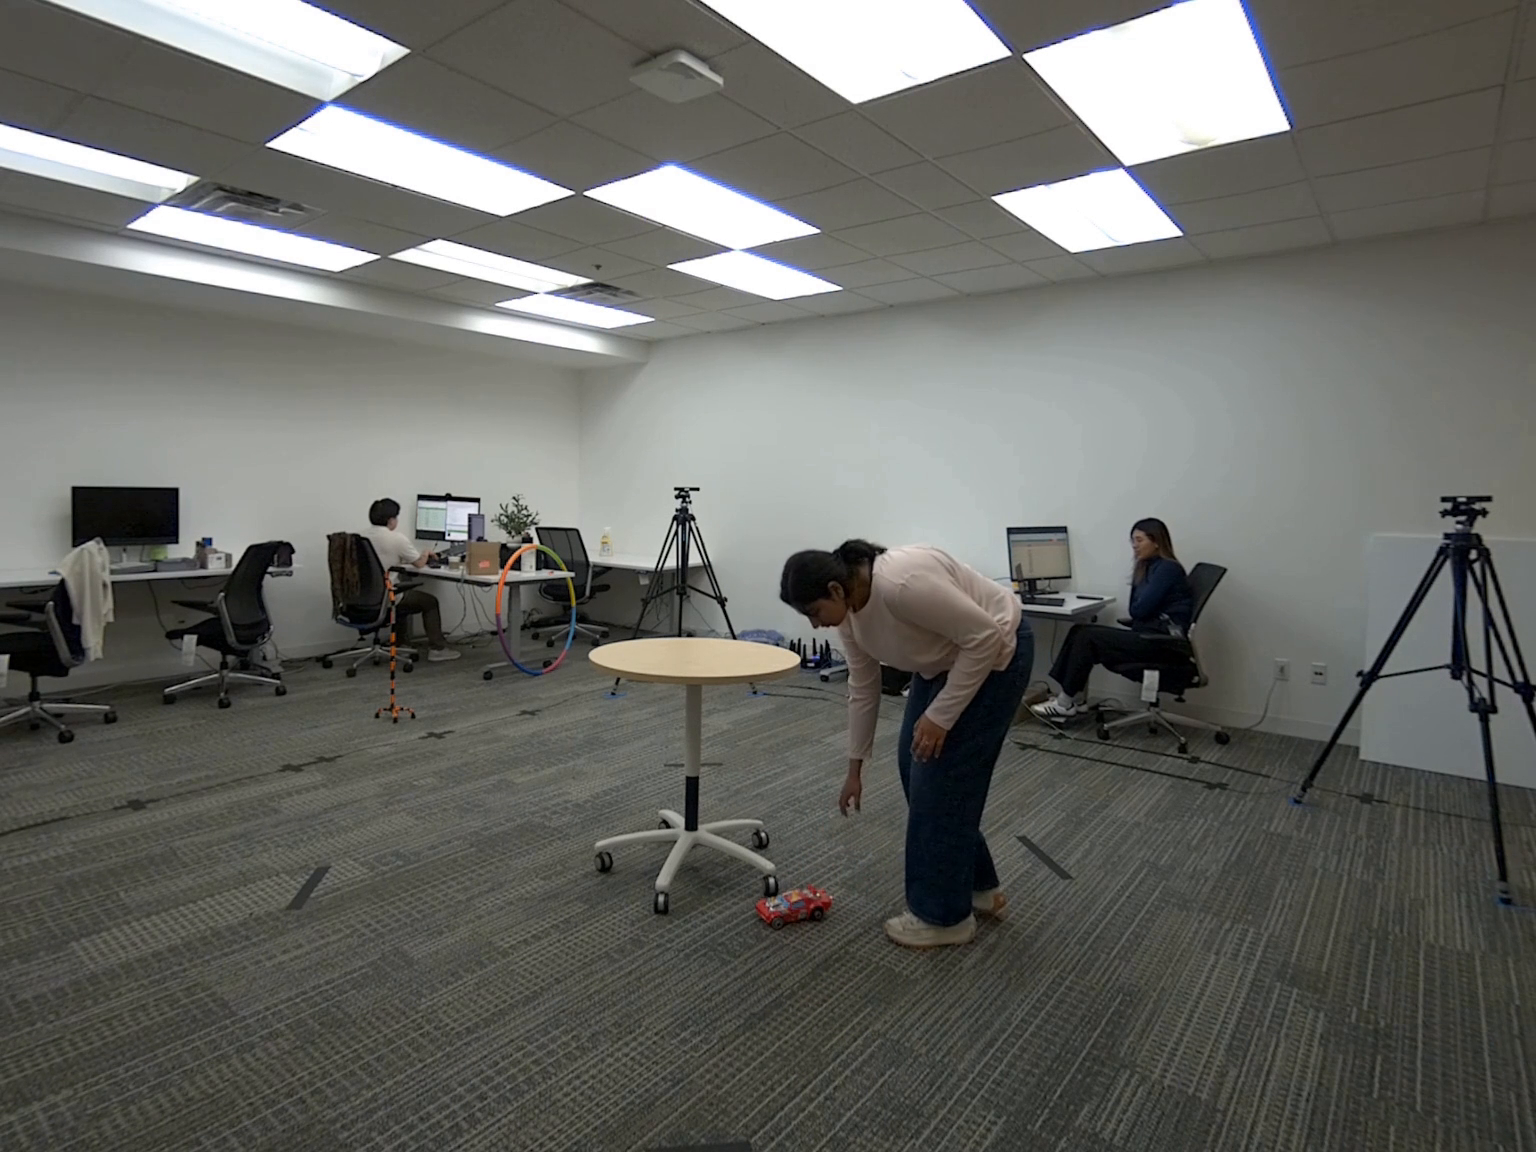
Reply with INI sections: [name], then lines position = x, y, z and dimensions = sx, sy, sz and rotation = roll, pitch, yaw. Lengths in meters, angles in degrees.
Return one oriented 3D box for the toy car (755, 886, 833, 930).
[toy car]
position = 0.082, 1.072, 2.776
dimensions = 0.250, 0.082, 0.134
rotation = -13, 11, -22
